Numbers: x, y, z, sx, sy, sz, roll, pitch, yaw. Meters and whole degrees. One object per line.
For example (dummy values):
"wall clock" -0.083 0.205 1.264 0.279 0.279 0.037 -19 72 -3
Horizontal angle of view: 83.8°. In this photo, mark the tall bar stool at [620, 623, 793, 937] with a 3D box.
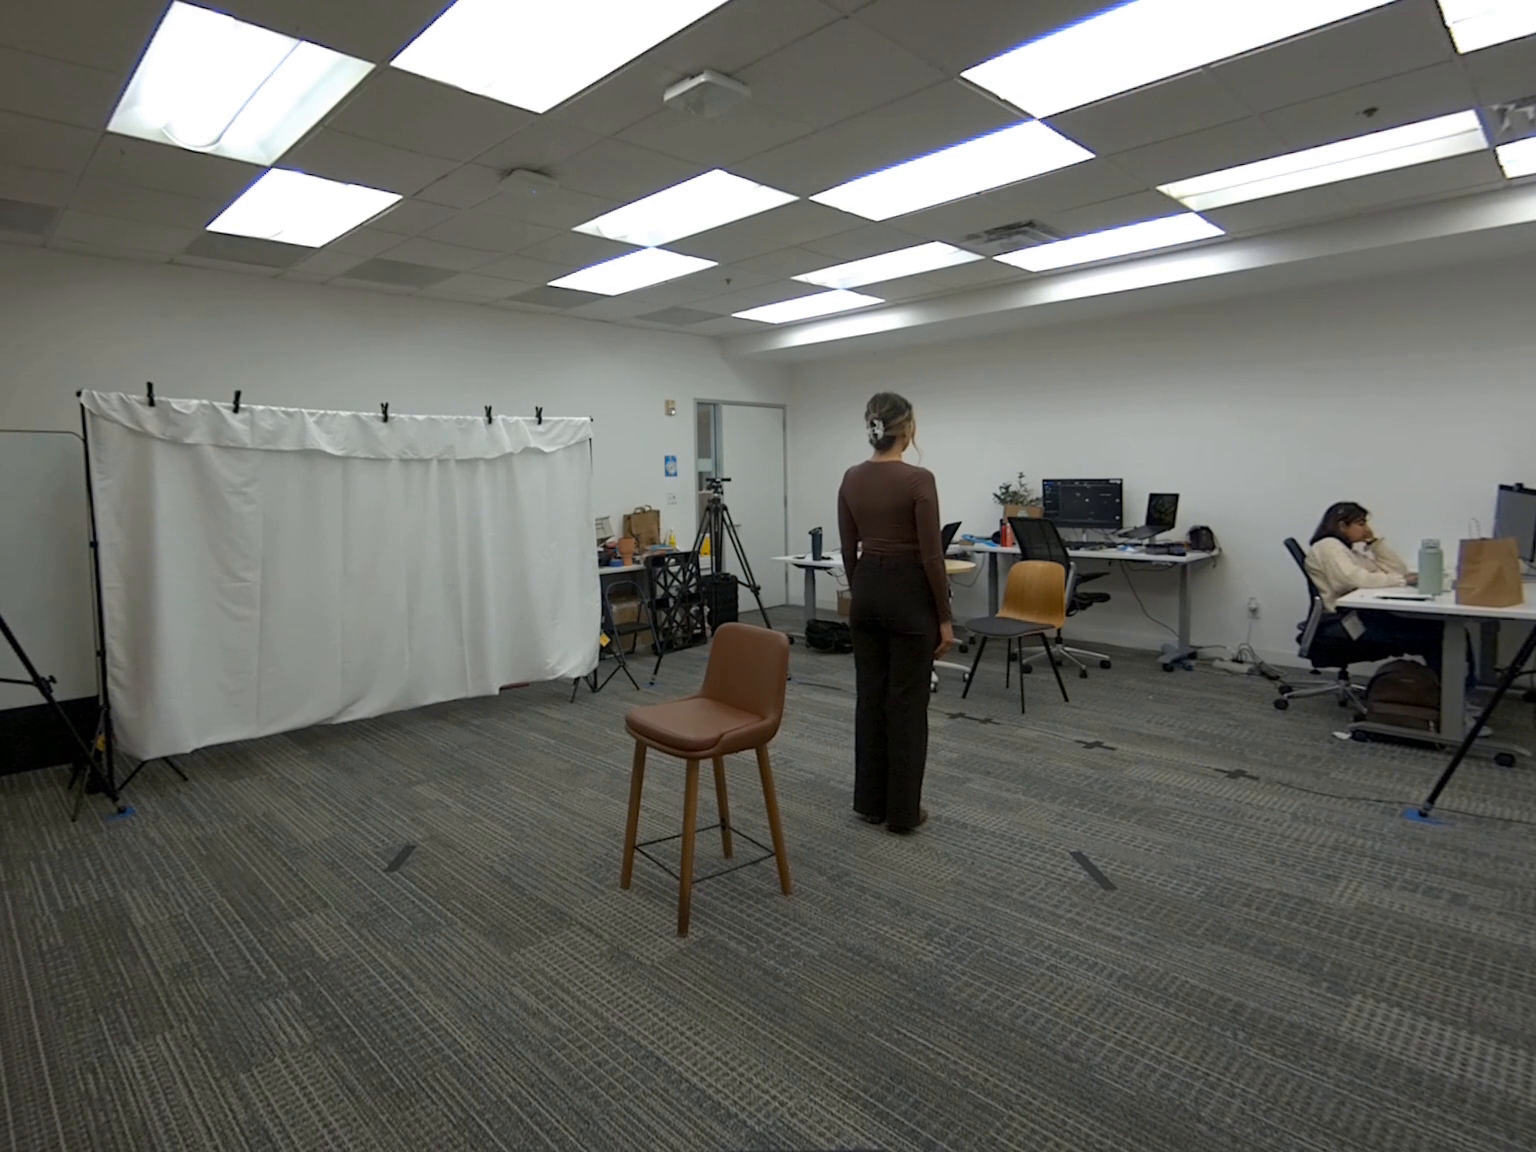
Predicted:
"tall bar stool" -0.209 0.636 2.874 0.455 0.887 0.470 -2 4 -36
